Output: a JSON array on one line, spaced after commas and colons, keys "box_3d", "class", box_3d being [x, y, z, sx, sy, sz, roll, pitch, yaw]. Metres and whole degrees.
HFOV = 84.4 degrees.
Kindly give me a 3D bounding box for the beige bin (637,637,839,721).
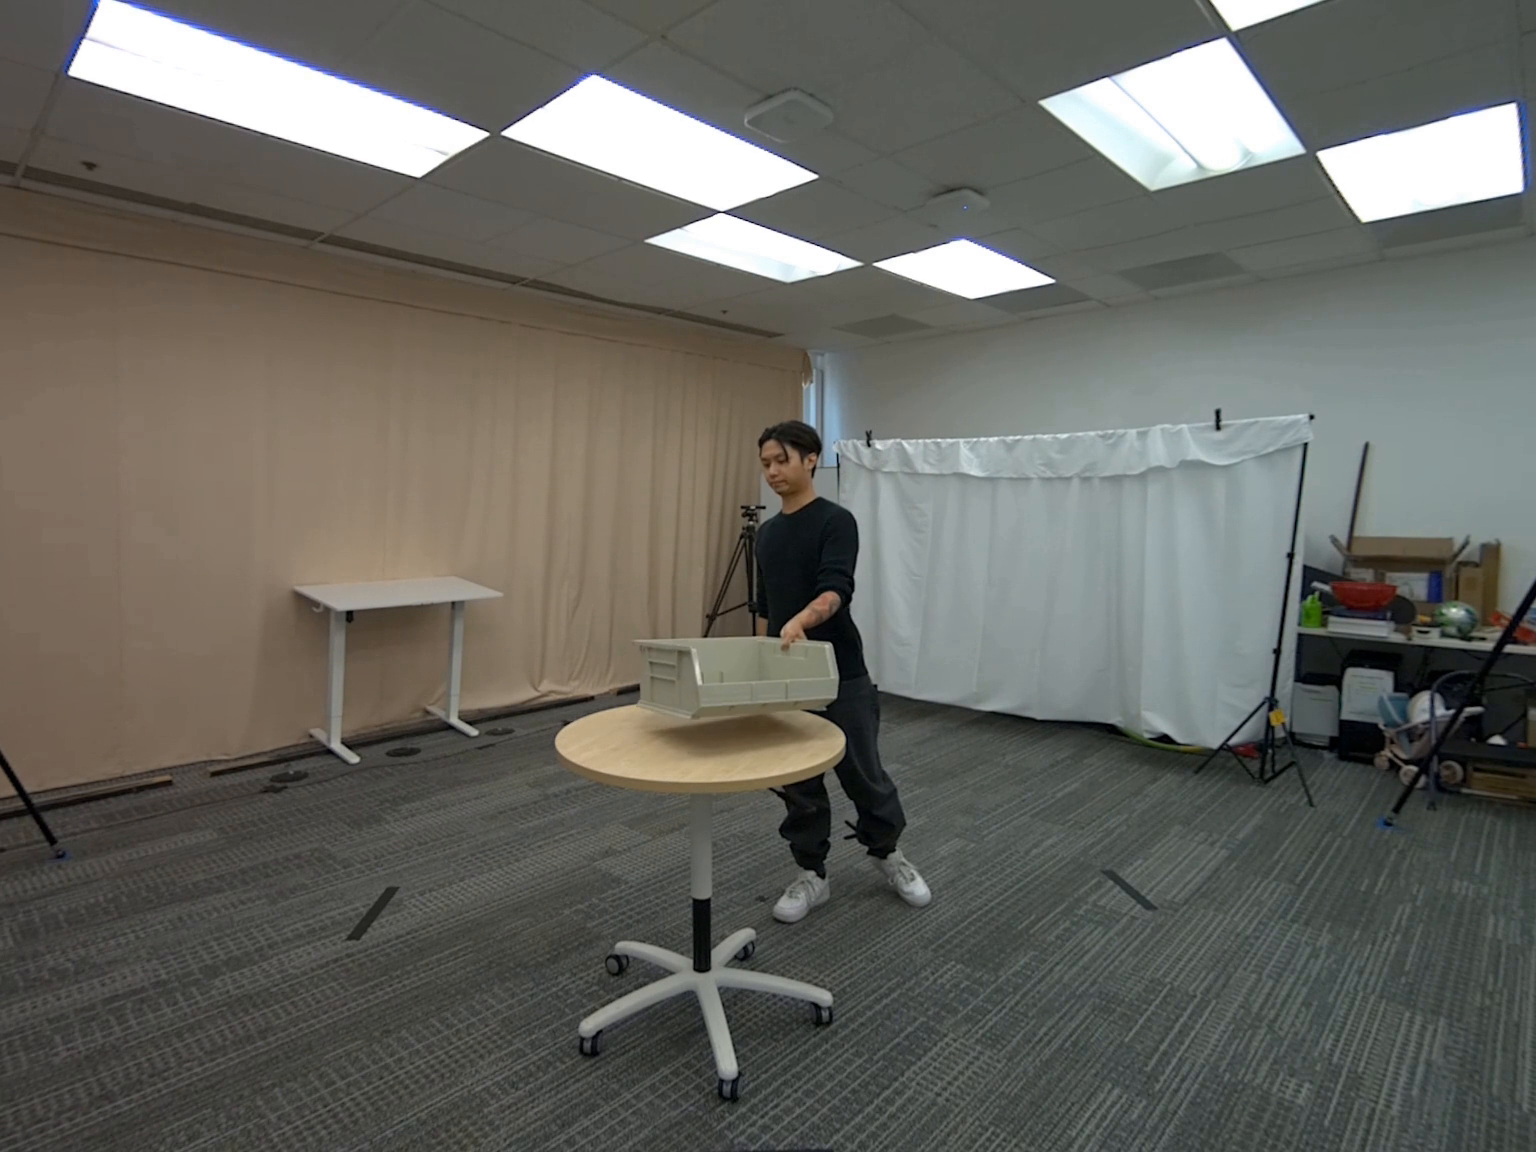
[{"box_3d": [-0.085, 0.260, 2.240, 0.410, 0.189, 0.387, 1, -3, -32], "class": "beige bin"}]
